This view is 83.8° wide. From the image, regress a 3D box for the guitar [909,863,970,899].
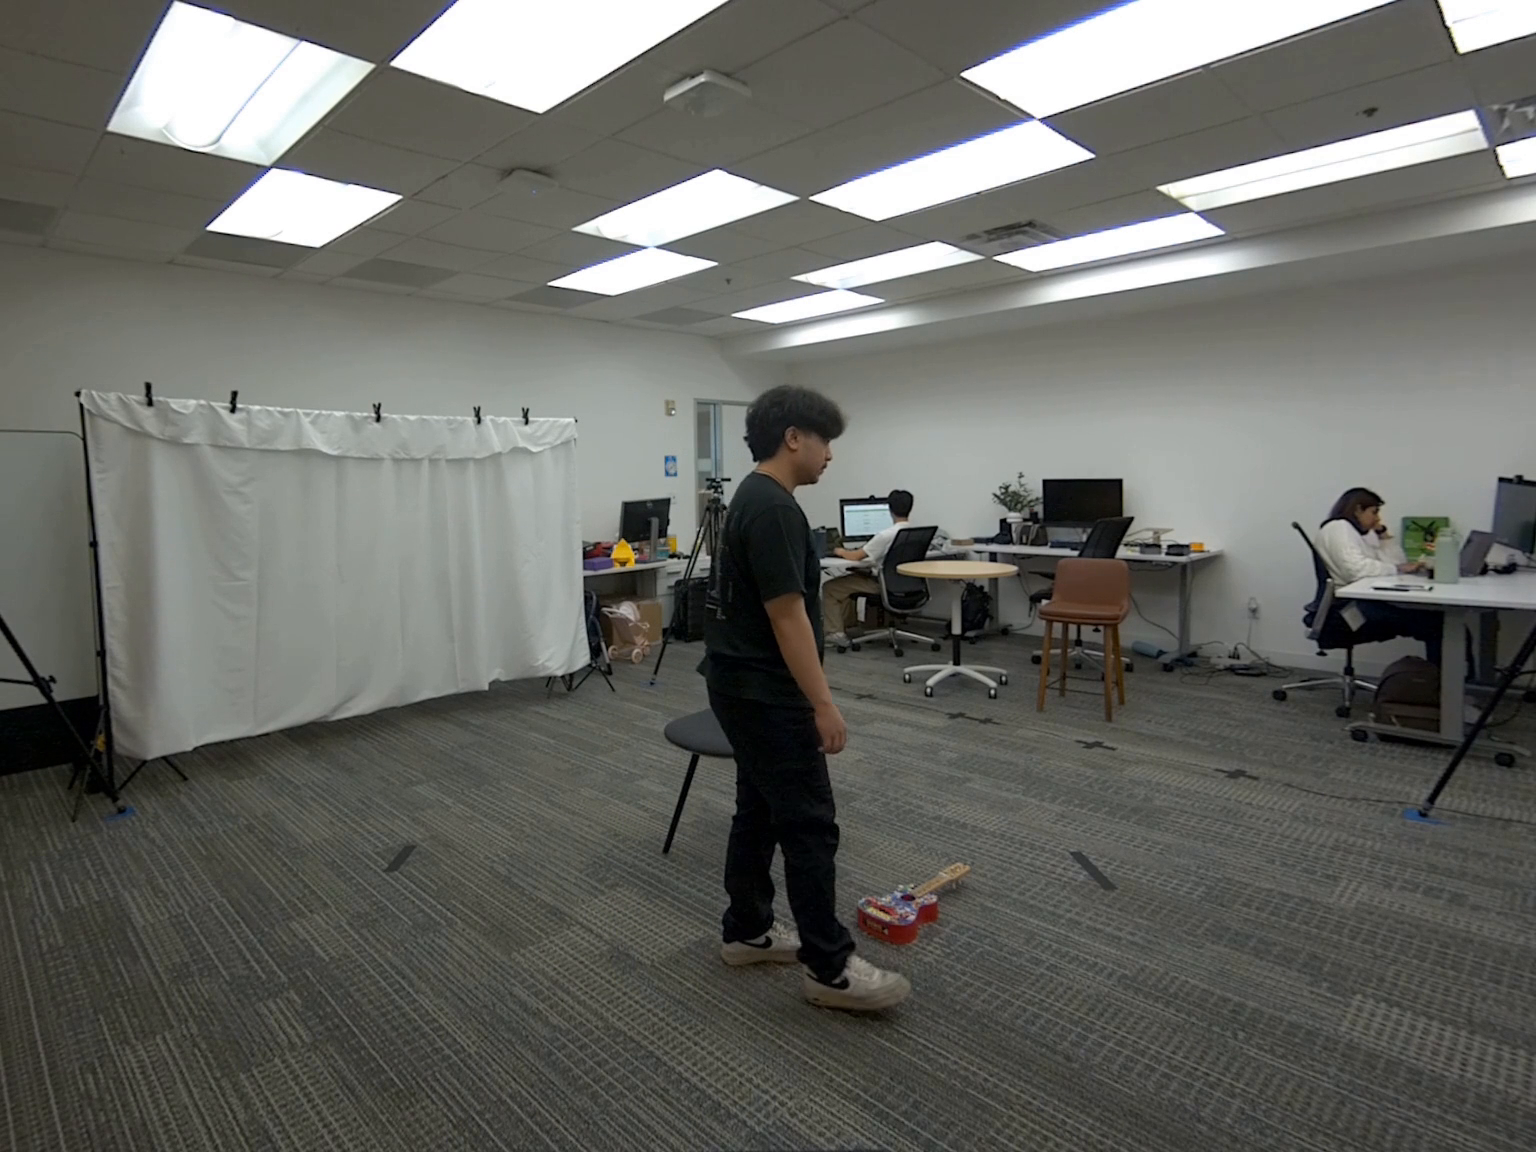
[{"bbox_3d":[0.521,1.042,2.731,0.486,0.070,0.198,-6,7,-33],"label":"guitar"}]
